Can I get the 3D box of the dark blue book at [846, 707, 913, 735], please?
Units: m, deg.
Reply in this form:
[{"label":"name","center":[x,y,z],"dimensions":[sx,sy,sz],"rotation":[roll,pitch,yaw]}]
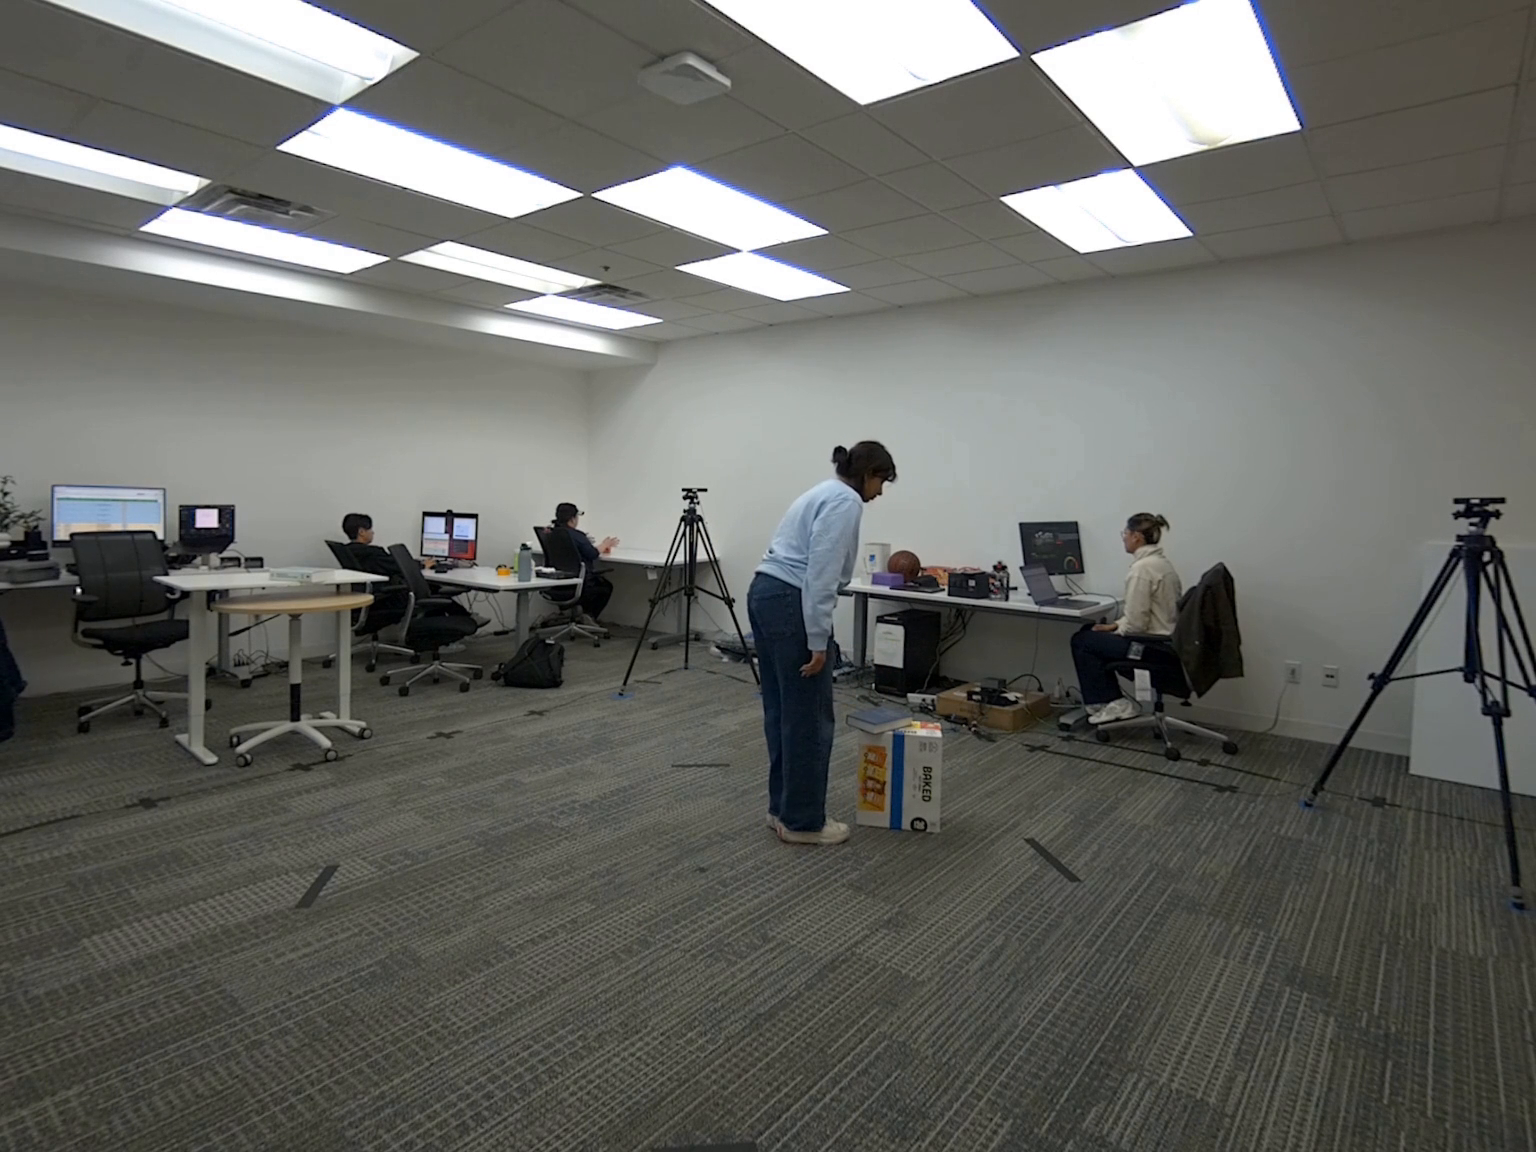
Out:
[{"label":"dark blue book","center":[0.466,0.610,3.610],"dimensions":[0.238,0.045,0.169],"rotation":[-4,9,-40]}]
